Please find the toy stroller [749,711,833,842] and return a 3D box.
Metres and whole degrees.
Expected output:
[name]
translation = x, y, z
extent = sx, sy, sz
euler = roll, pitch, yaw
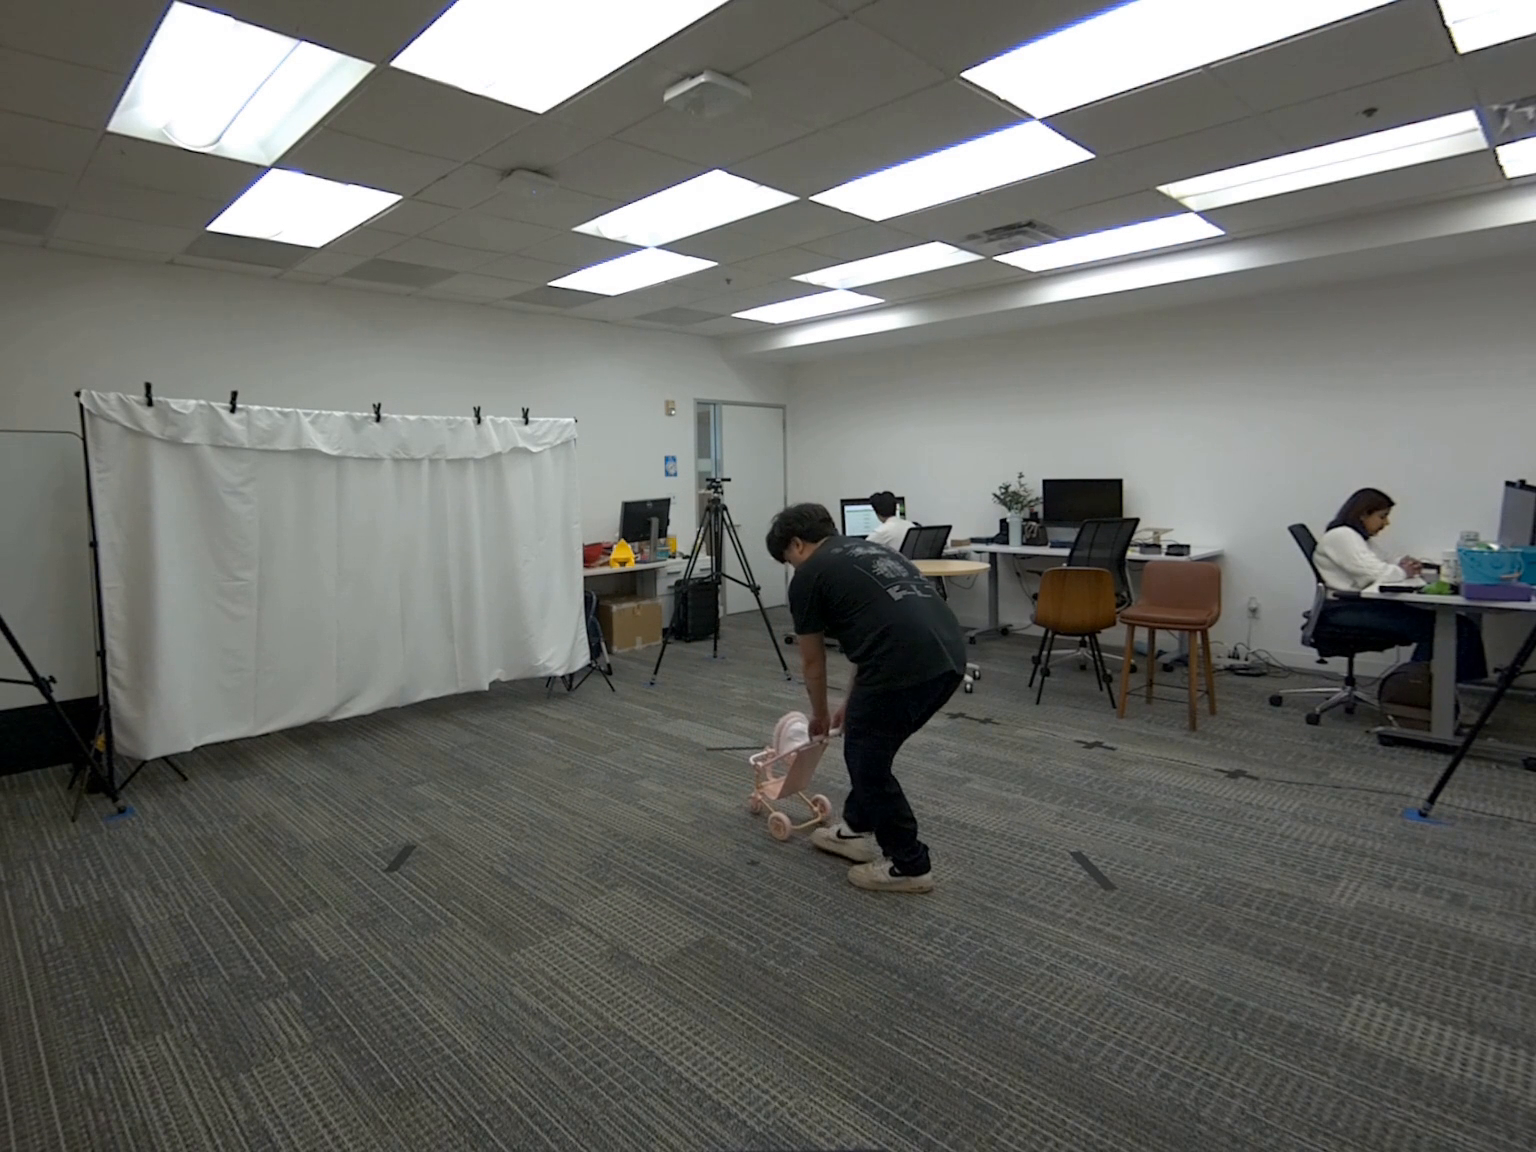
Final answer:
[toy stroller]
translation = 0.089, 0.778, 3.415
extent = 0.274, 0.529, 0.354
euler = -4, 22, -42
